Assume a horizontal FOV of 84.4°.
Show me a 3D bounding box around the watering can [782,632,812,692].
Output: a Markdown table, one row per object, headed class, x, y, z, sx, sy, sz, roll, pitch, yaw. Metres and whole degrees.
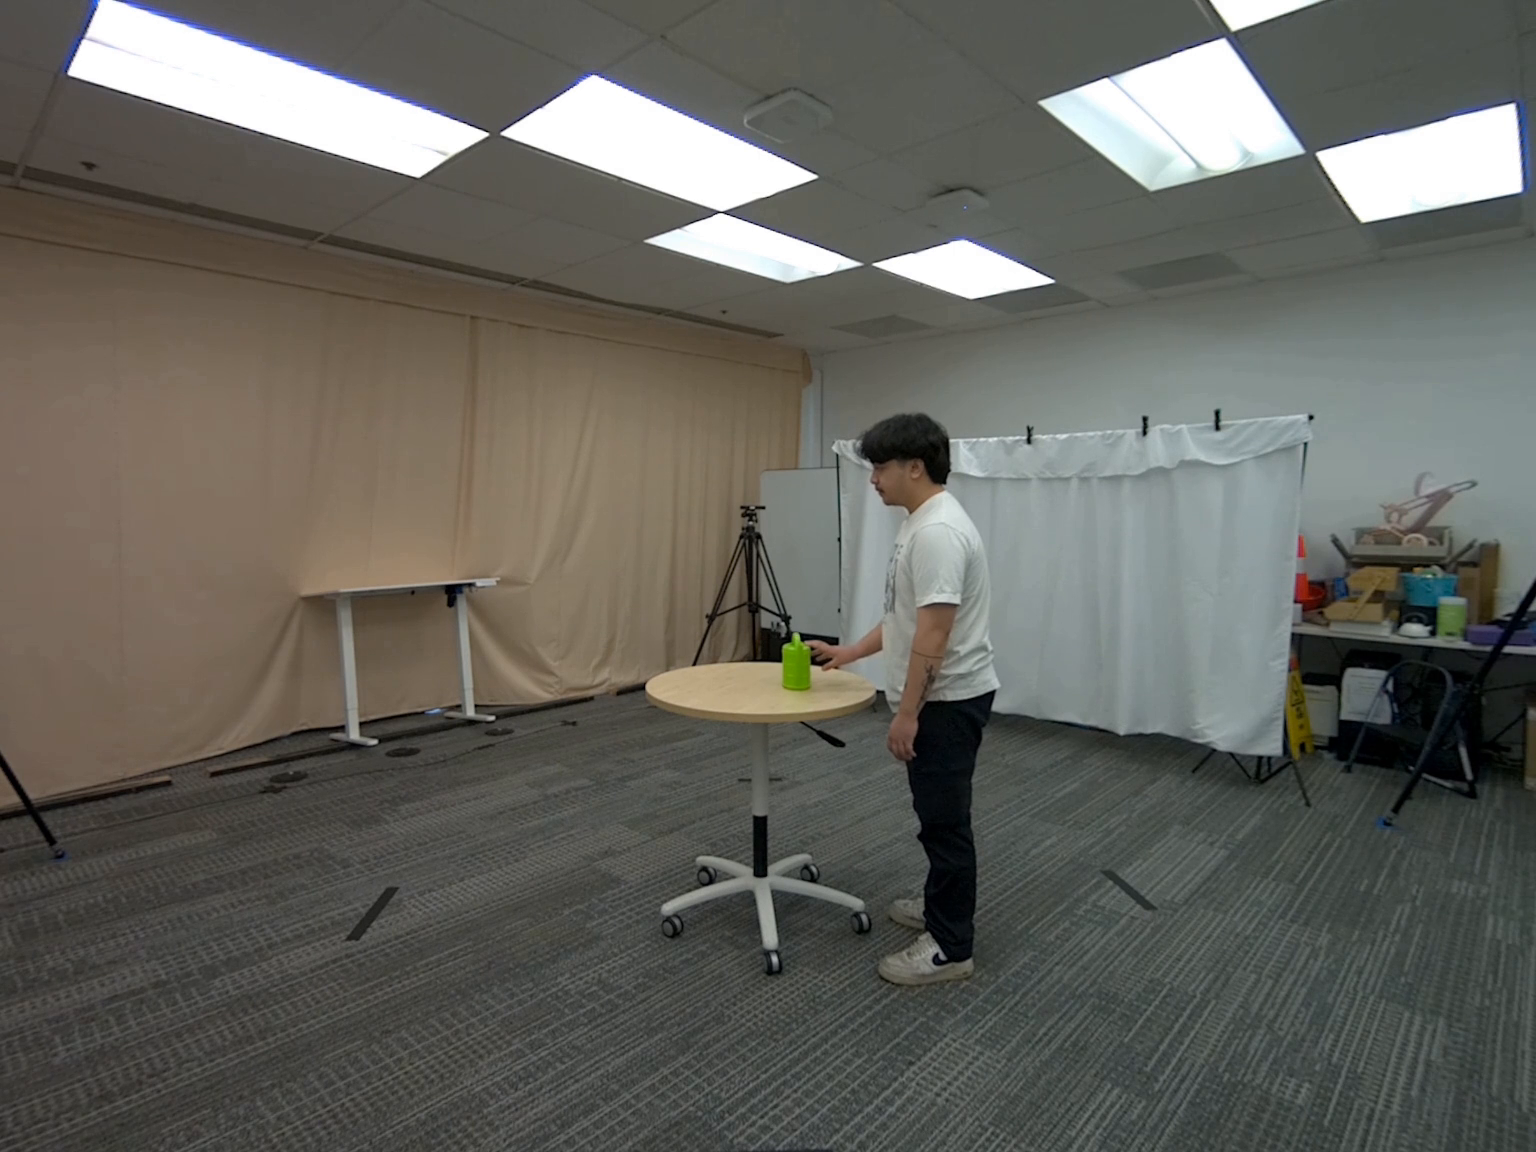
| class | x | y | z | sx | sy | sz | roll | pitch | yaw |
| --- | --- | --- | --- | --- | --- | --- | --- | --- | --- |
| watering can | 0.096 | 0.290 | 2.743 | 0.098 | 0.176 | 0.277 | -1 | 5 | 4 |
